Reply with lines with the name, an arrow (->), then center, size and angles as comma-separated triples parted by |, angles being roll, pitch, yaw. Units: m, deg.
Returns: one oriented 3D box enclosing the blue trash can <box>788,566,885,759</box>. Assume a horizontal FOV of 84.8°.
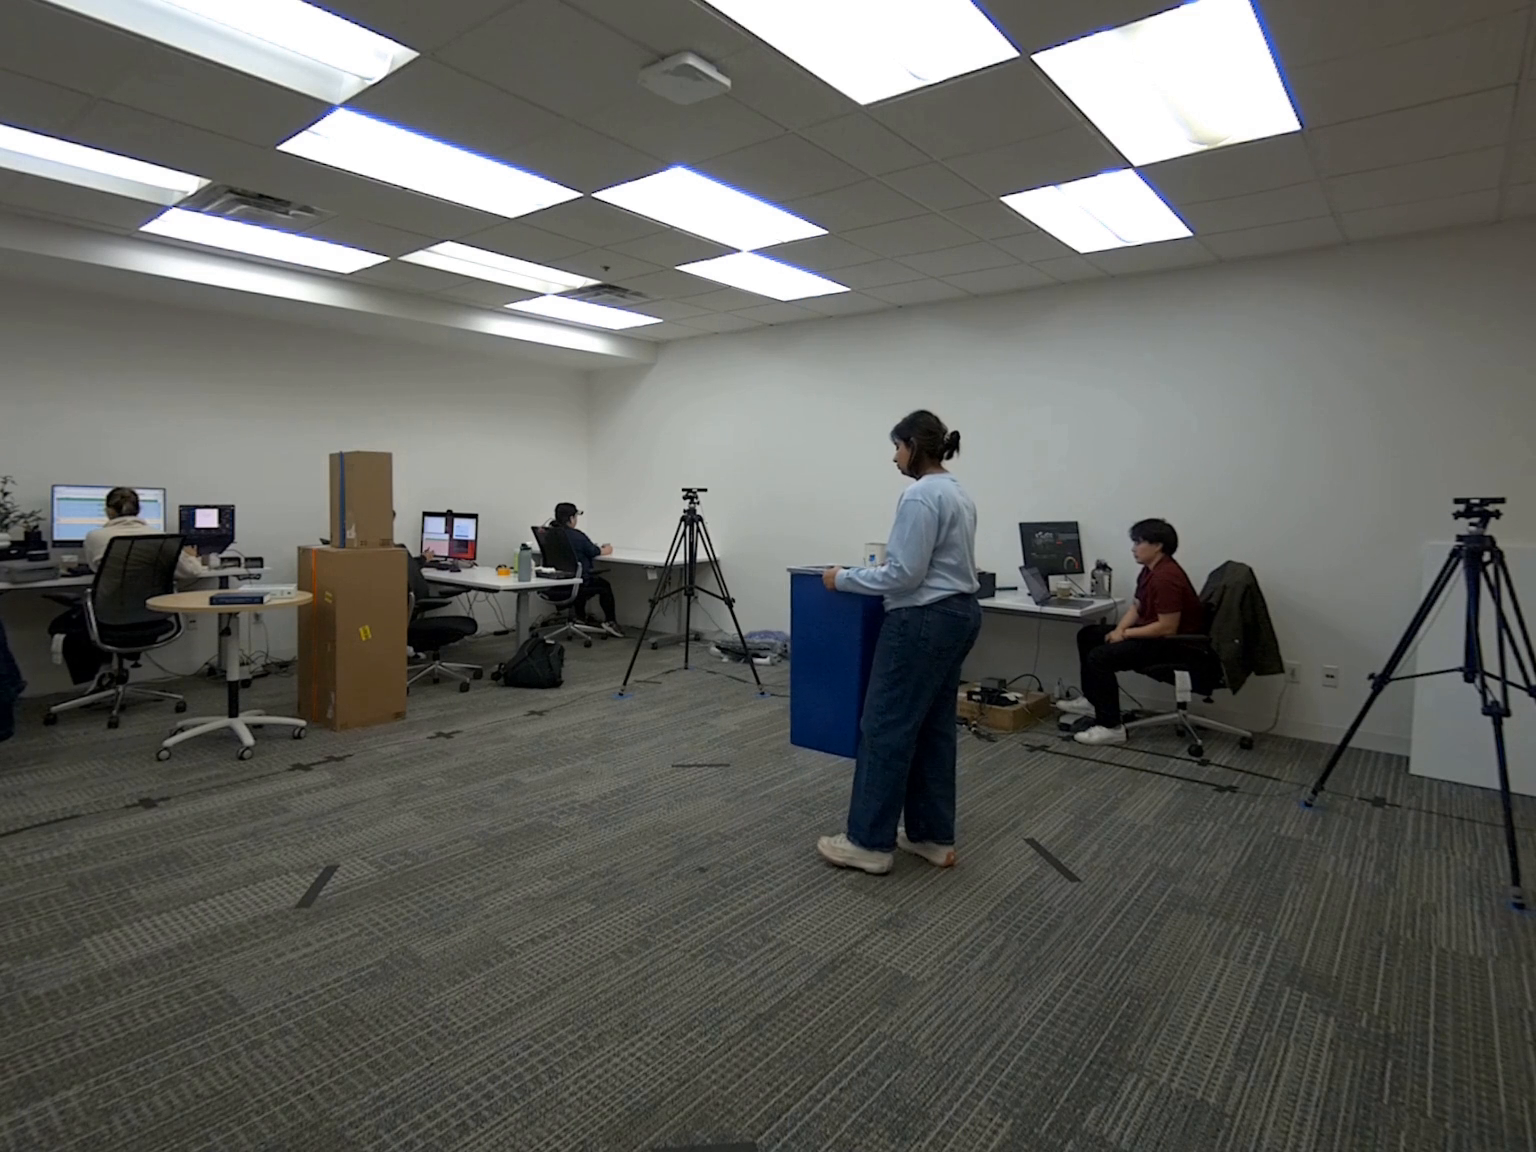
blue trash can -> 0.284, 0.323, 3.432 | 0.386, 0.712, 0.367 | 4, 3, 35
